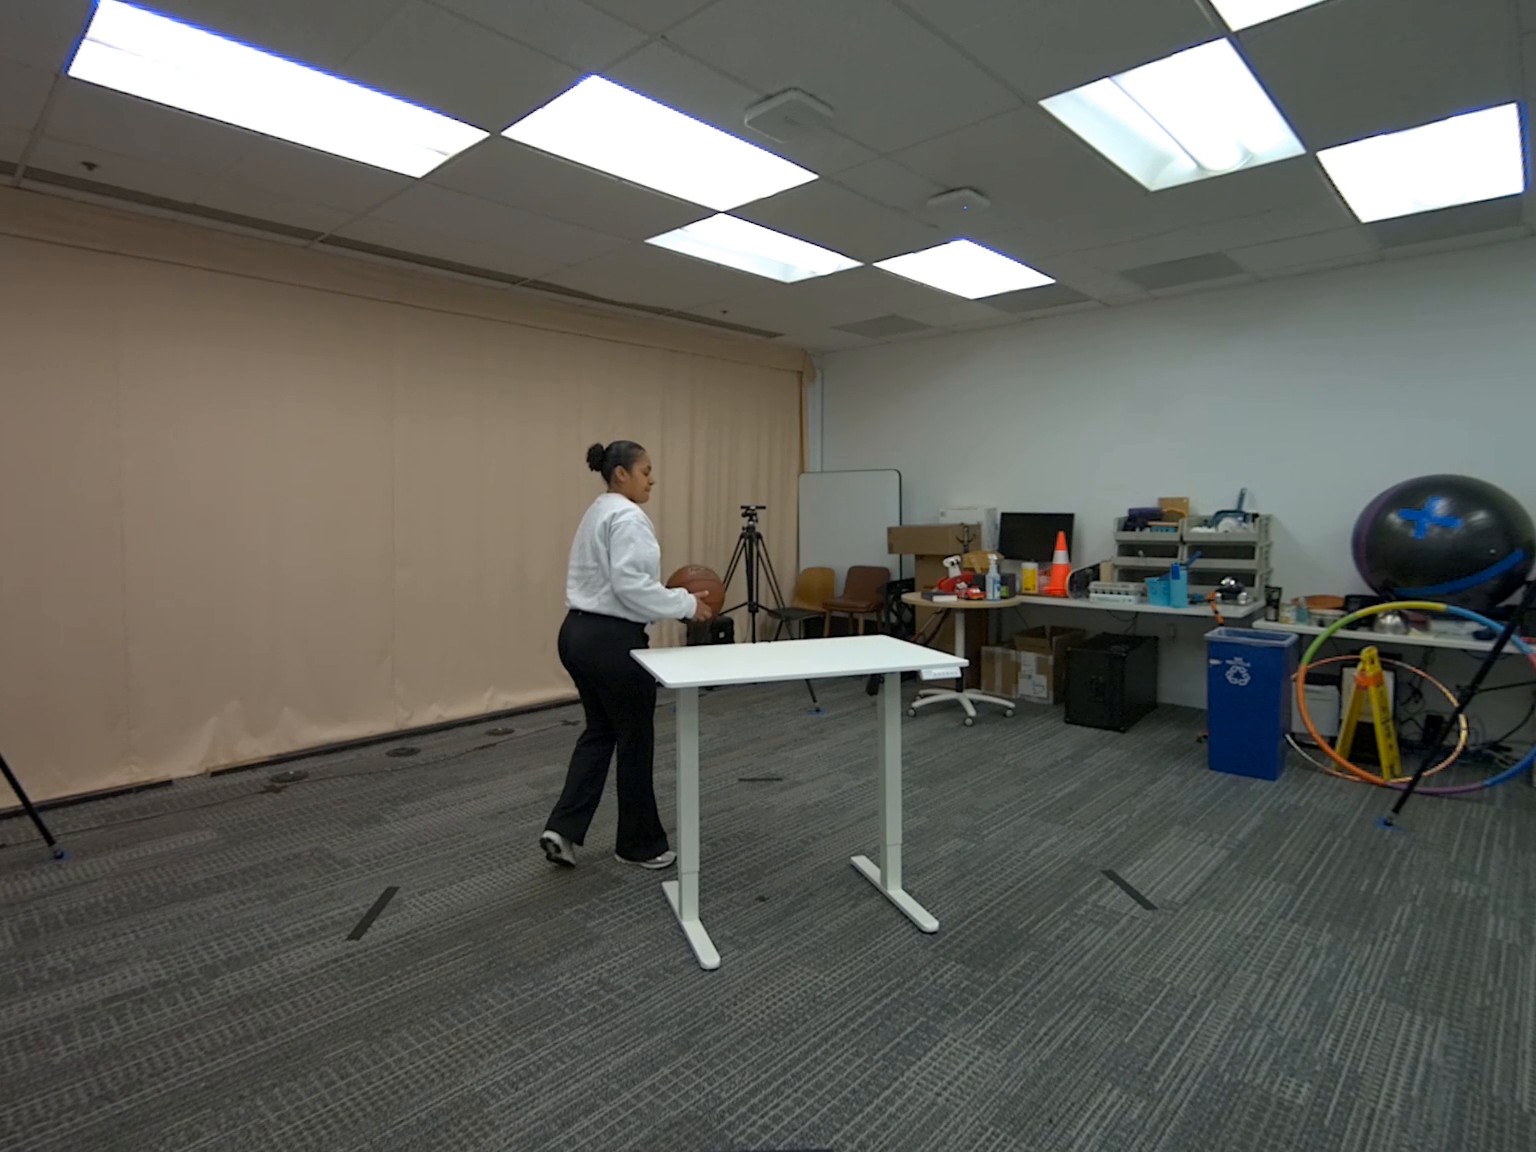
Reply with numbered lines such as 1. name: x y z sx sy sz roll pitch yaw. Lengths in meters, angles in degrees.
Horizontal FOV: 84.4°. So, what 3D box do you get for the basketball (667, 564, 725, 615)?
1. basketball: -0.292 0.082 3.281 0.236 0.235 0.237 0 4 -2
